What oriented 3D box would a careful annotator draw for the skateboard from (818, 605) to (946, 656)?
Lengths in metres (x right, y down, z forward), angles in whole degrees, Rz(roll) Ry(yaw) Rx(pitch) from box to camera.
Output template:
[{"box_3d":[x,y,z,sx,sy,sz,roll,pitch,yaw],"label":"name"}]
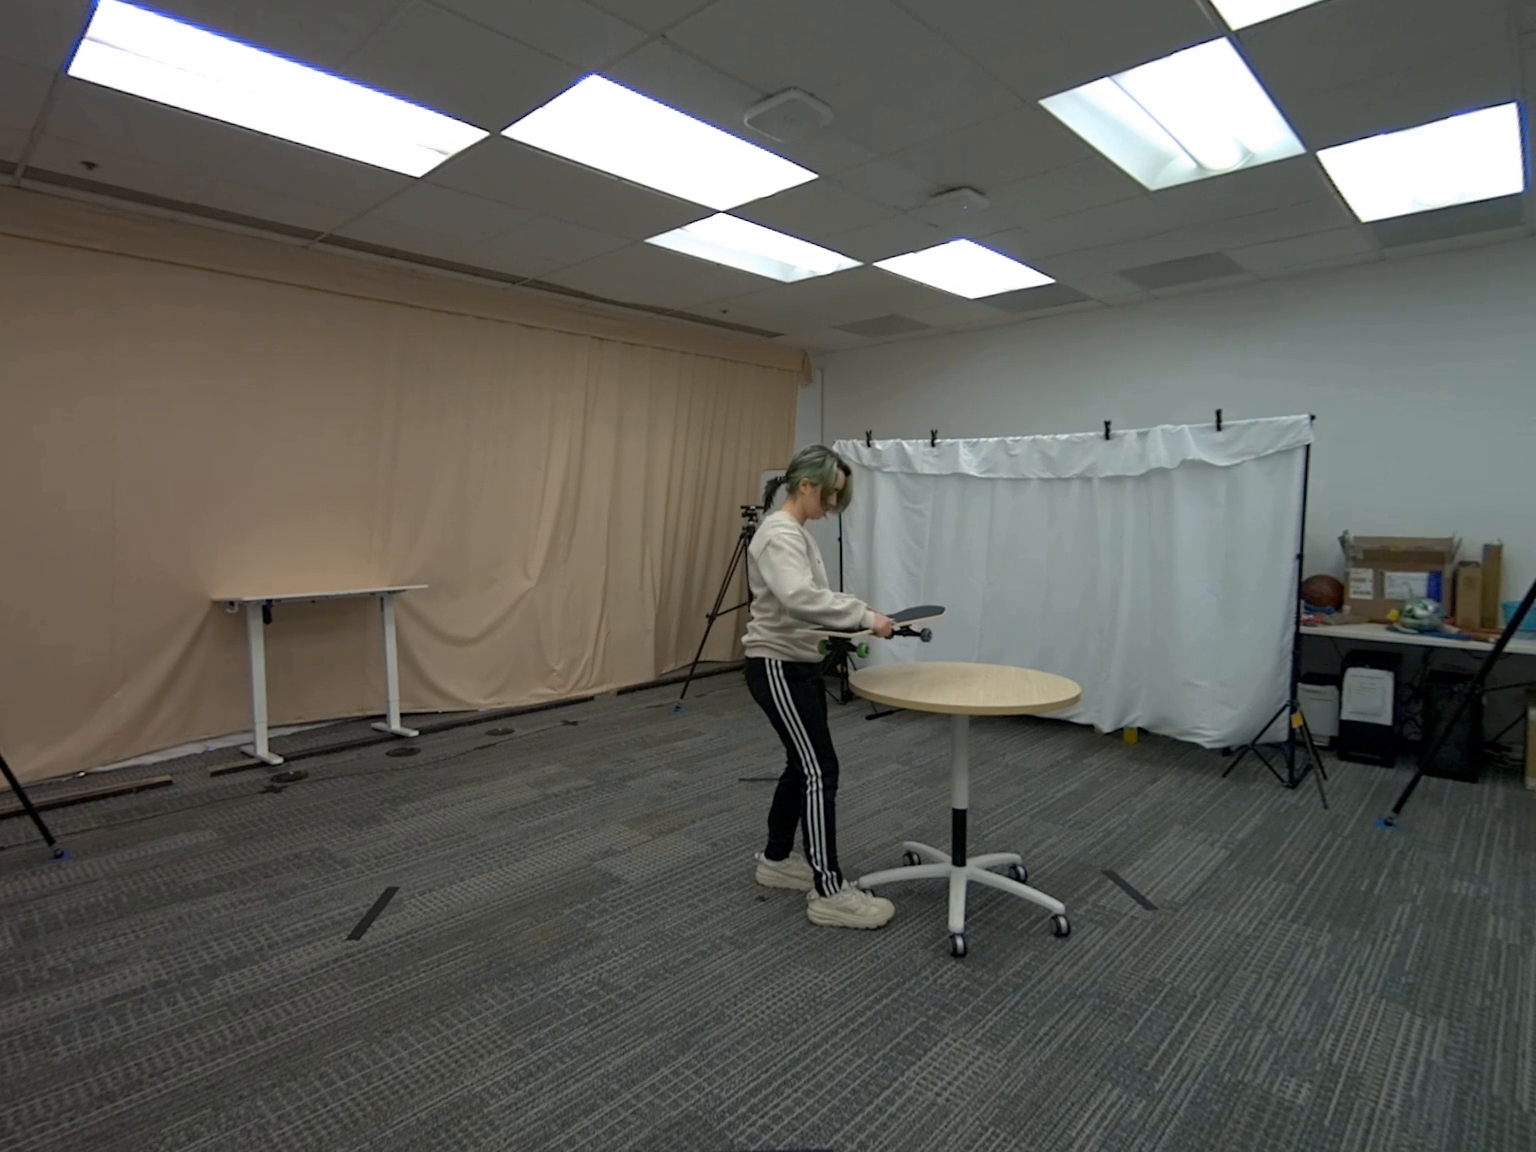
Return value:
[{"box_3d":[0.388,0.207,2.871,0.200,0.110,0.762,2,6,41],"label":"skateboard"}]
